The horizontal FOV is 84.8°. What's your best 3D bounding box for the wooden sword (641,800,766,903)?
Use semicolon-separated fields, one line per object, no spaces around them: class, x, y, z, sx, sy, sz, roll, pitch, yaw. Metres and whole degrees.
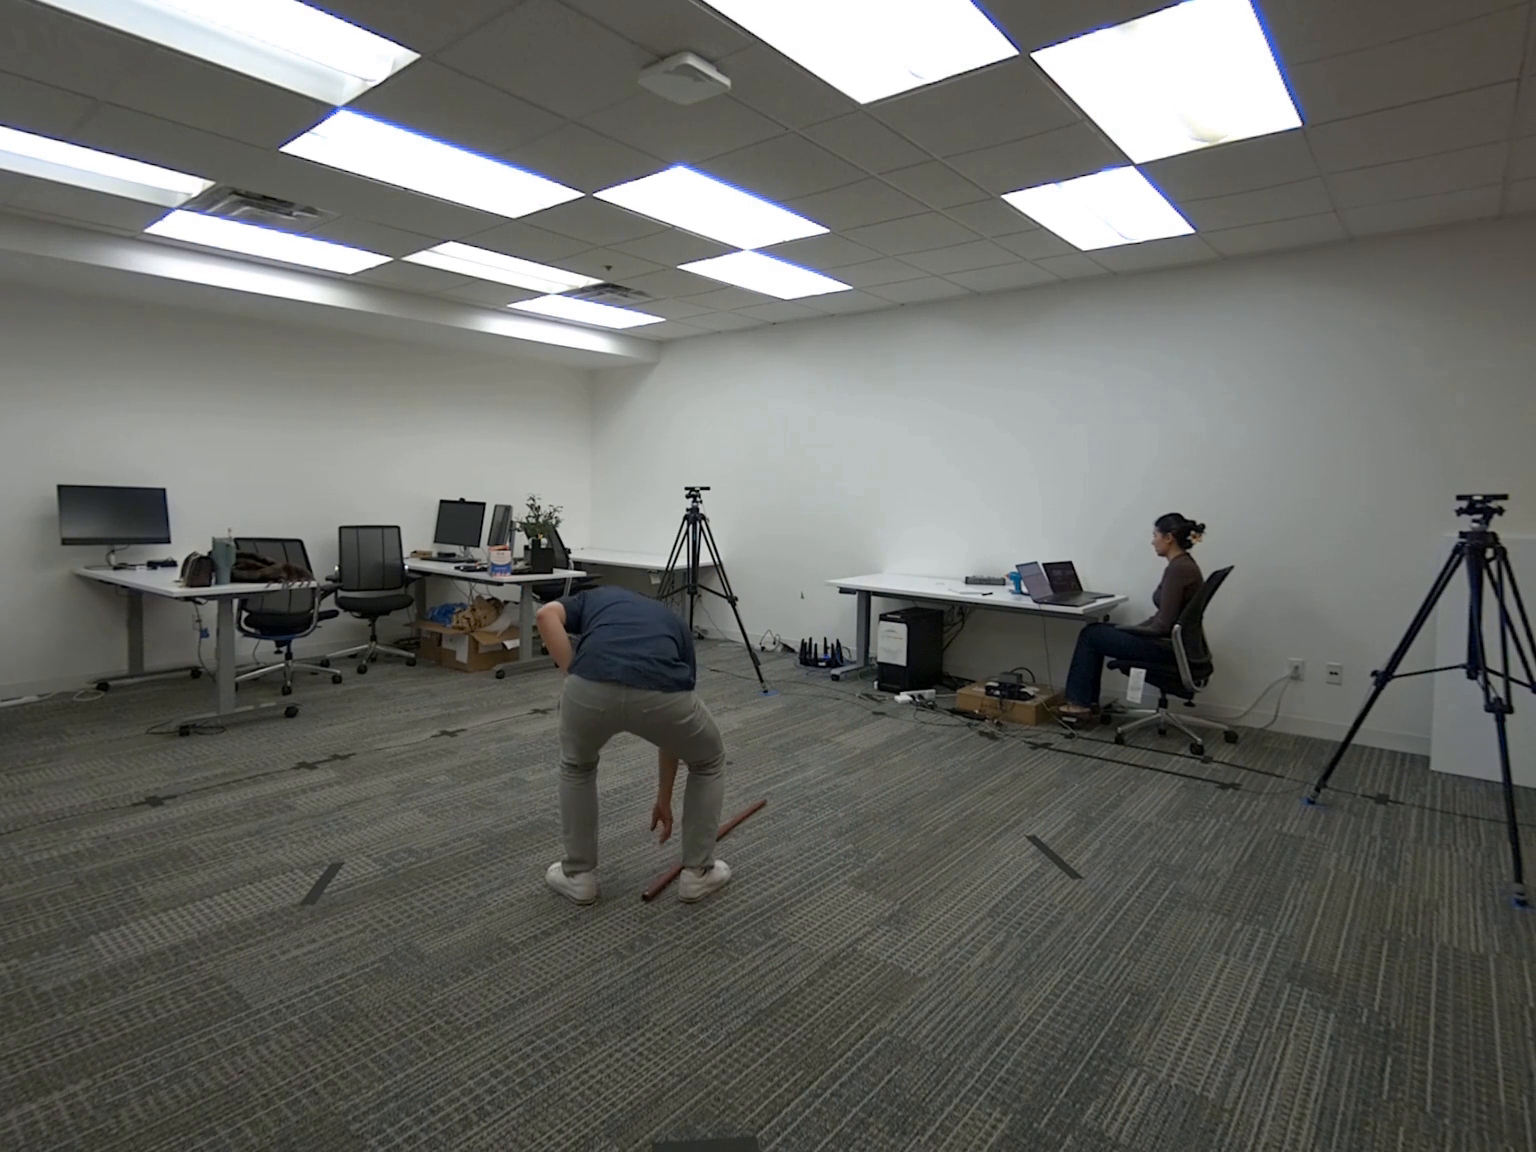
wooden sword;-0.236;1.017;3.292;0.052;0.024;1.003;-32;-8;22
